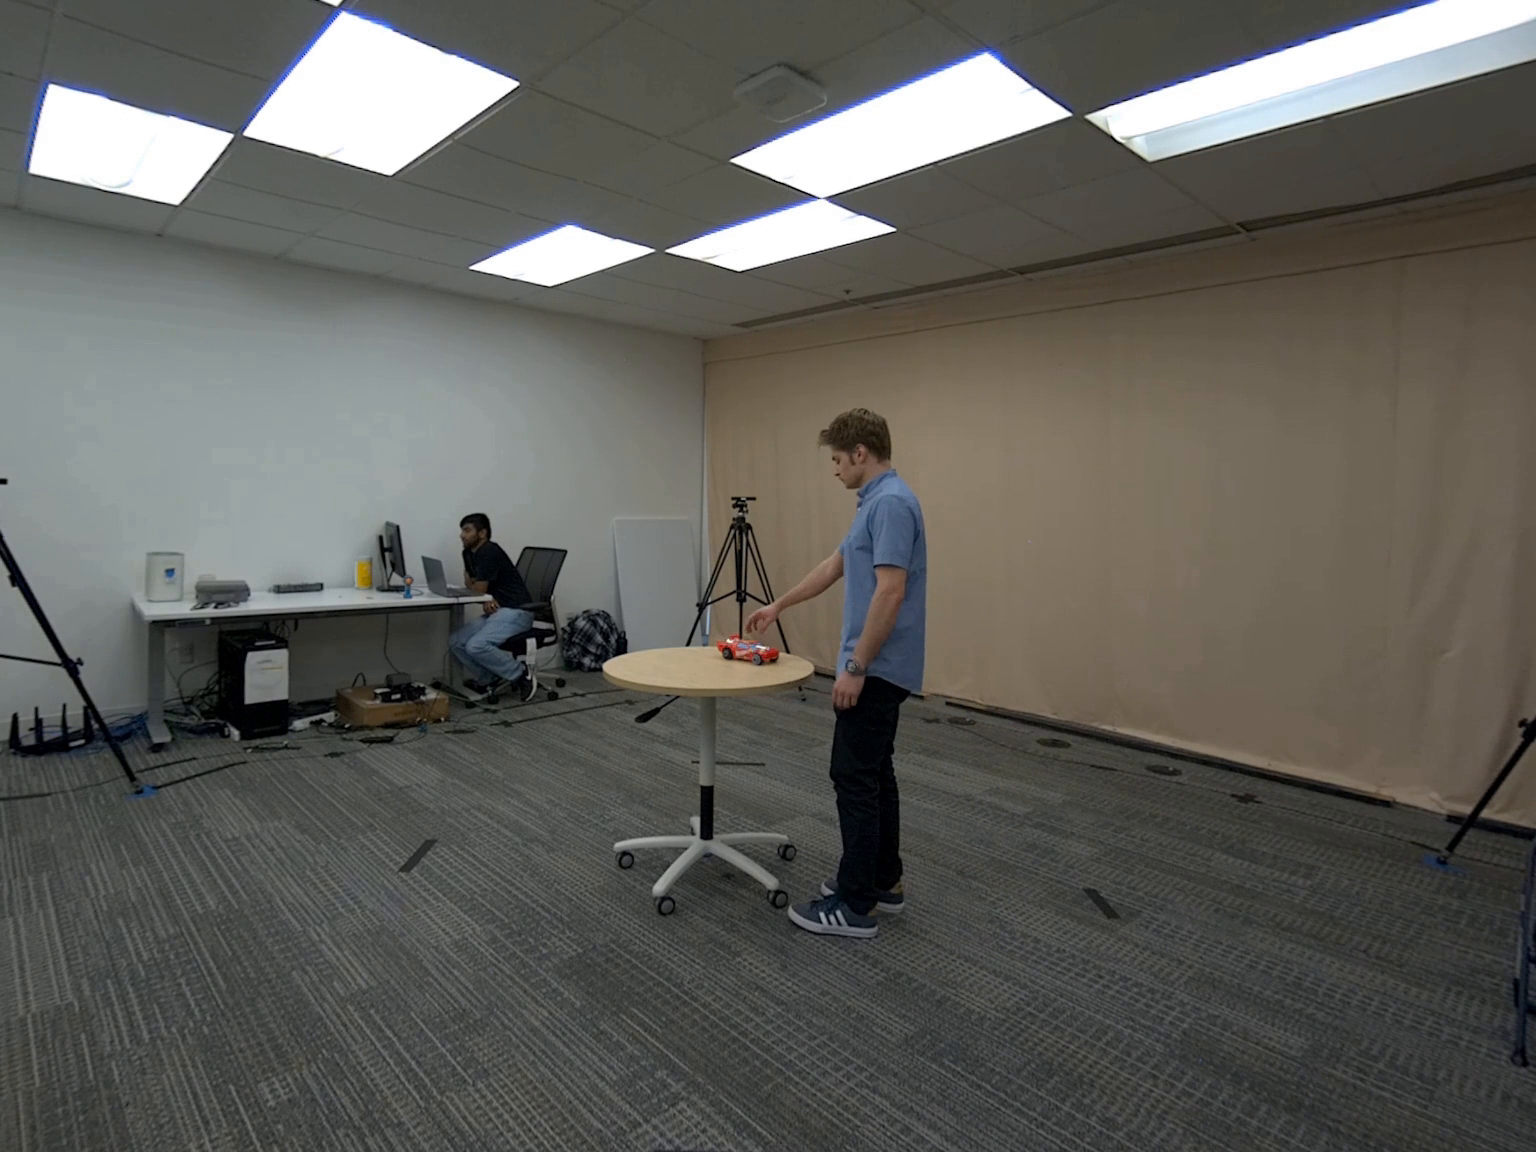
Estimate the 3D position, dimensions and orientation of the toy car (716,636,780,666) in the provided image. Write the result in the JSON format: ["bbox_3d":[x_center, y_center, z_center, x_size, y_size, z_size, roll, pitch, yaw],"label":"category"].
[{"bbox_3d":[-0.090,0.286,3.173,0.262,0.082,0.127,19,15,39],"label":"toy car"}]
